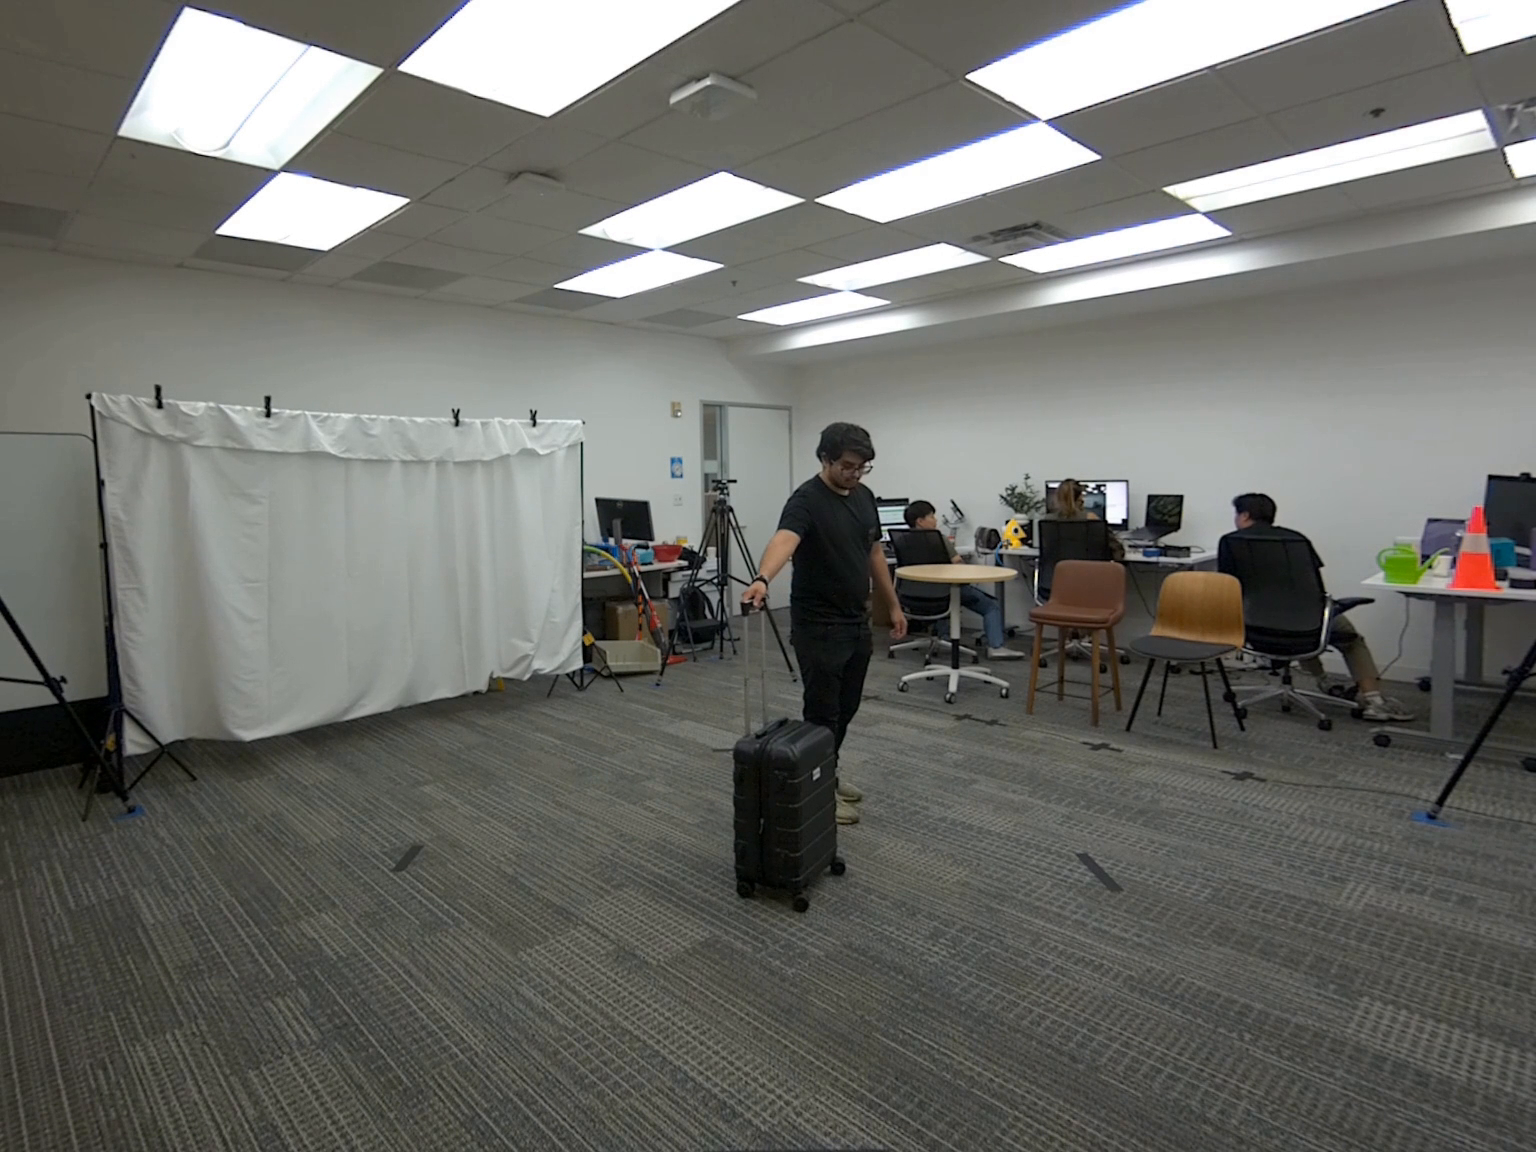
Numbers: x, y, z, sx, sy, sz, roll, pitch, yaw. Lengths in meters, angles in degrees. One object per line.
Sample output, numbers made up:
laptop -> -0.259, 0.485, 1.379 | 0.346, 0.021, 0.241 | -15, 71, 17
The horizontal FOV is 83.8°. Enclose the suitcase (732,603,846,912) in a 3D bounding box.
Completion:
suitcase -> 0.066, 0.586, 2.925 | 0.264, 0.975, 0.376 | 3, 5, 28
